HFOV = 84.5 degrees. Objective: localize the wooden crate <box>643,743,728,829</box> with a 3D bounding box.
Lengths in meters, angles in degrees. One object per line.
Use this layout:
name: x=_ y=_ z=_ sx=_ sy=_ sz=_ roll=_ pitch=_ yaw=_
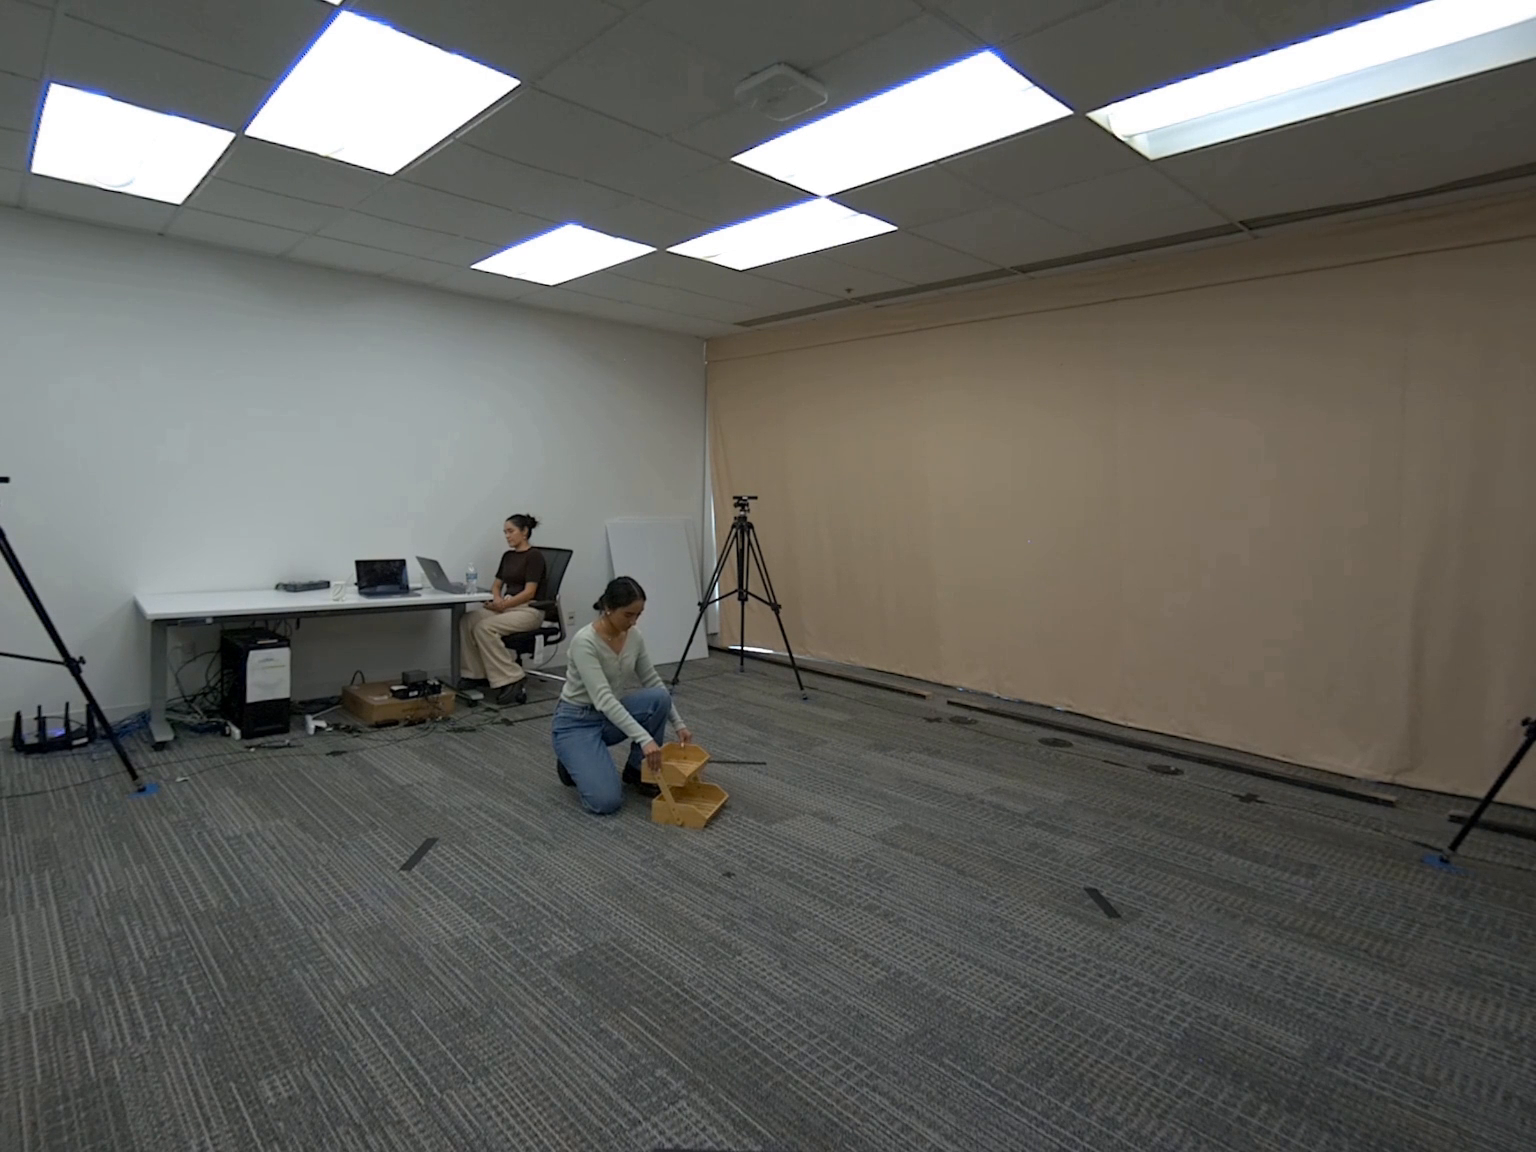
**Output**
wooden crate: x=-0.362 y=0.911 z=3.708 sx=0.306 sy=0.272 sz=0.321 roll=3 pitch=4 yaw=16
